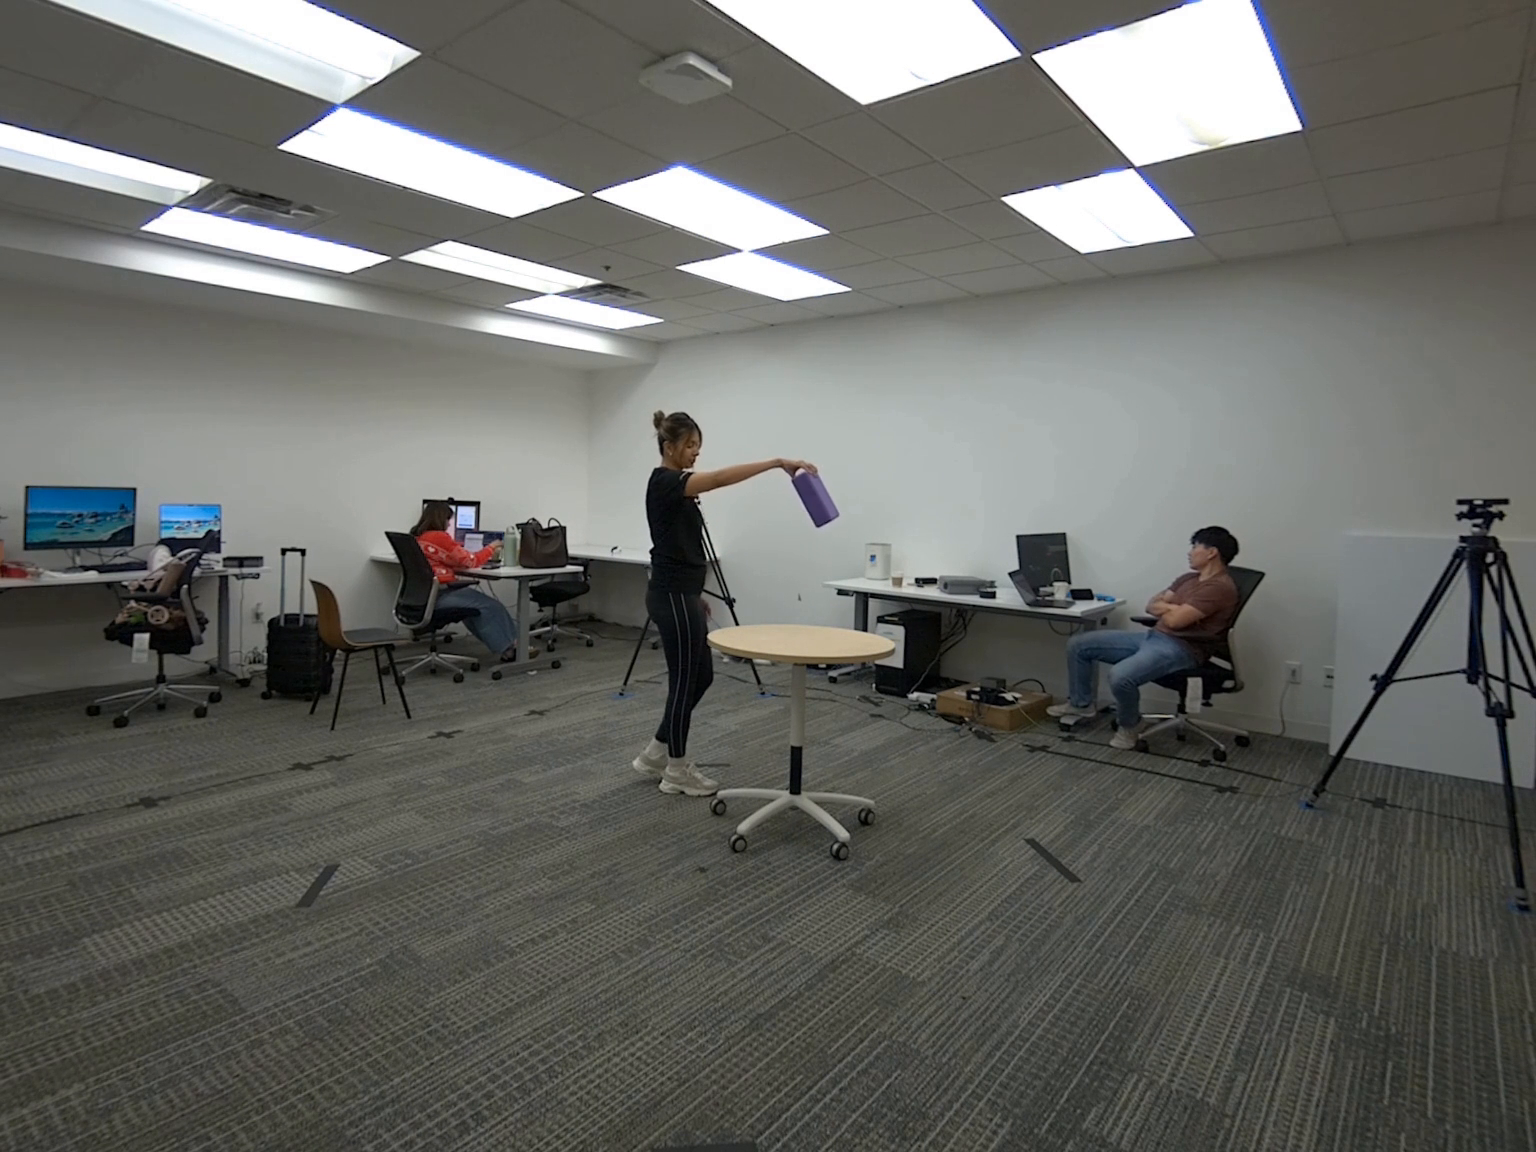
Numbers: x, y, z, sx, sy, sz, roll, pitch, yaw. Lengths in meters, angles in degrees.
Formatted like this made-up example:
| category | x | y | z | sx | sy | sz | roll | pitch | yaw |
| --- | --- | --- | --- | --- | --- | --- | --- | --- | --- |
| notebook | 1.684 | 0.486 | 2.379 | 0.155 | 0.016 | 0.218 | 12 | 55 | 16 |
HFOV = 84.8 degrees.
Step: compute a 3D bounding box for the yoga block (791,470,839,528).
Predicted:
| category | x | y | z | sx | sy | sz | roll | pitch | yaw |
| --- | --- | --- | --- | --- | --- | --- | --- | --- | --- |
| yoga block | 0.189 | -0.324 | 3.499 | 0.077 | 0.230 | 0.147 | -29 | -2 | 24 |
